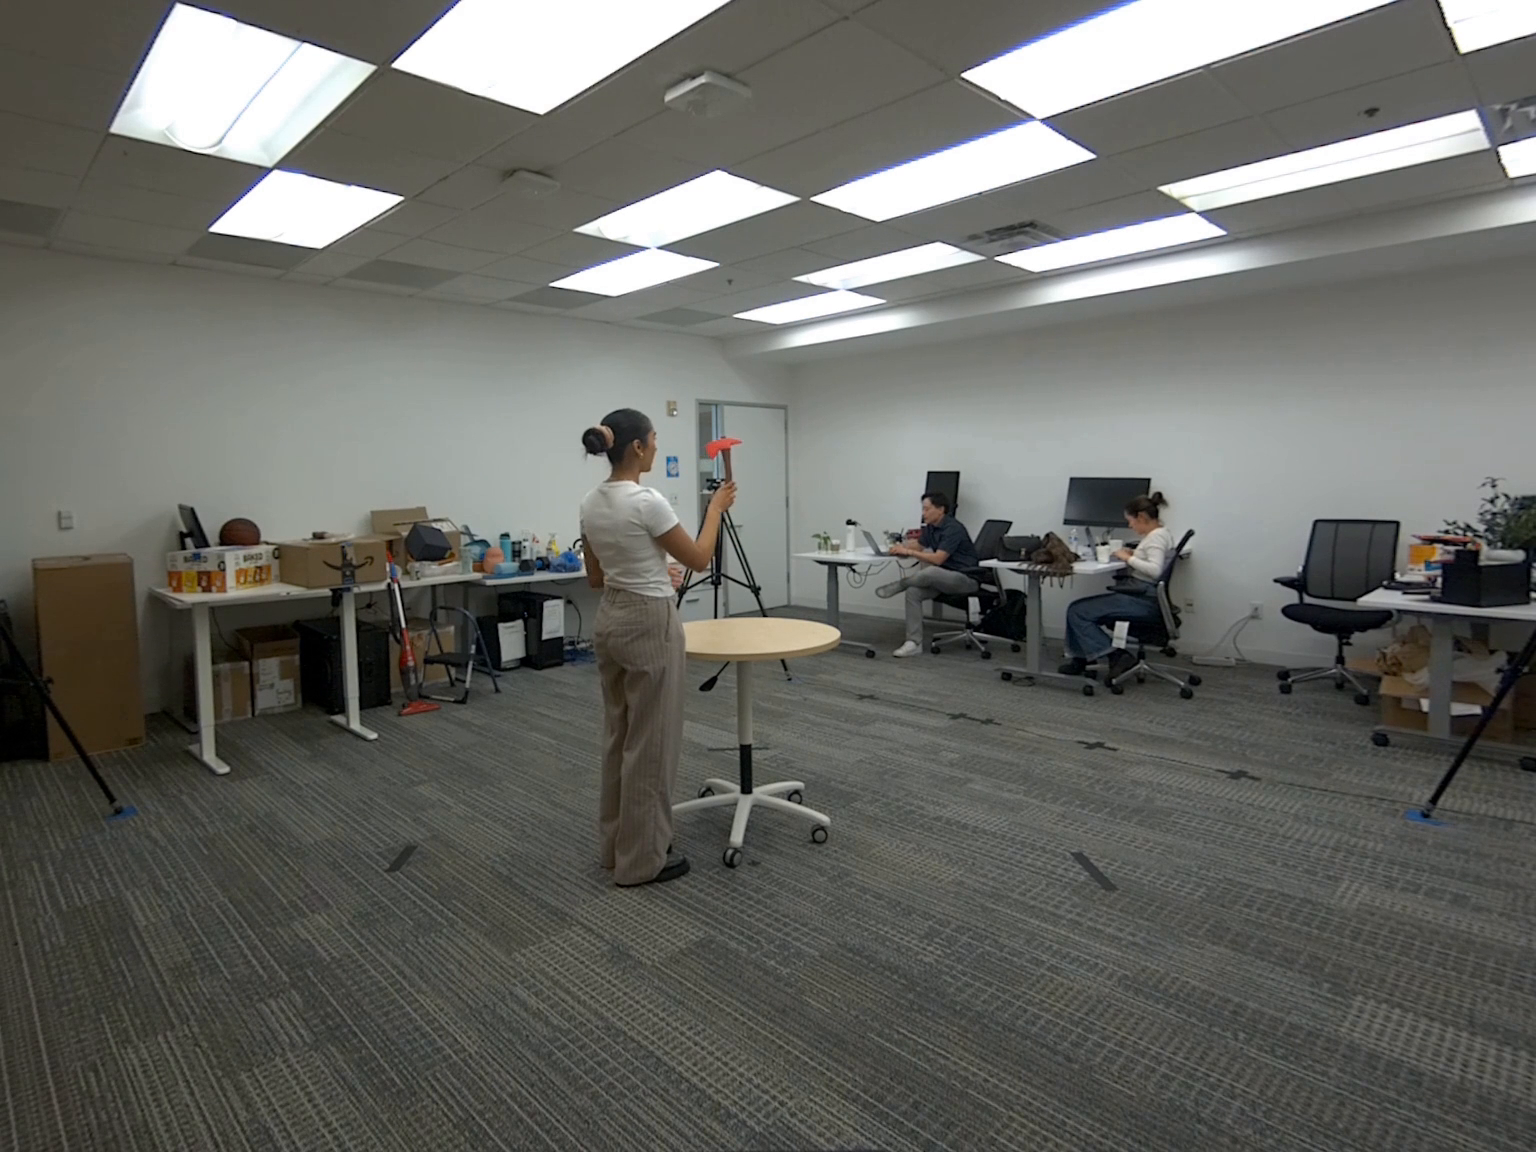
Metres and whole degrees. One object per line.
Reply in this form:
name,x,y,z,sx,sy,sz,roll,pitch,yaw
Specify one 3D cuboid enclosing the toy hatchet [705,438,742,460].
toy hatchet,-0.180,-0.394,3.179,0.131,0.271,0.029,13,-8,2
